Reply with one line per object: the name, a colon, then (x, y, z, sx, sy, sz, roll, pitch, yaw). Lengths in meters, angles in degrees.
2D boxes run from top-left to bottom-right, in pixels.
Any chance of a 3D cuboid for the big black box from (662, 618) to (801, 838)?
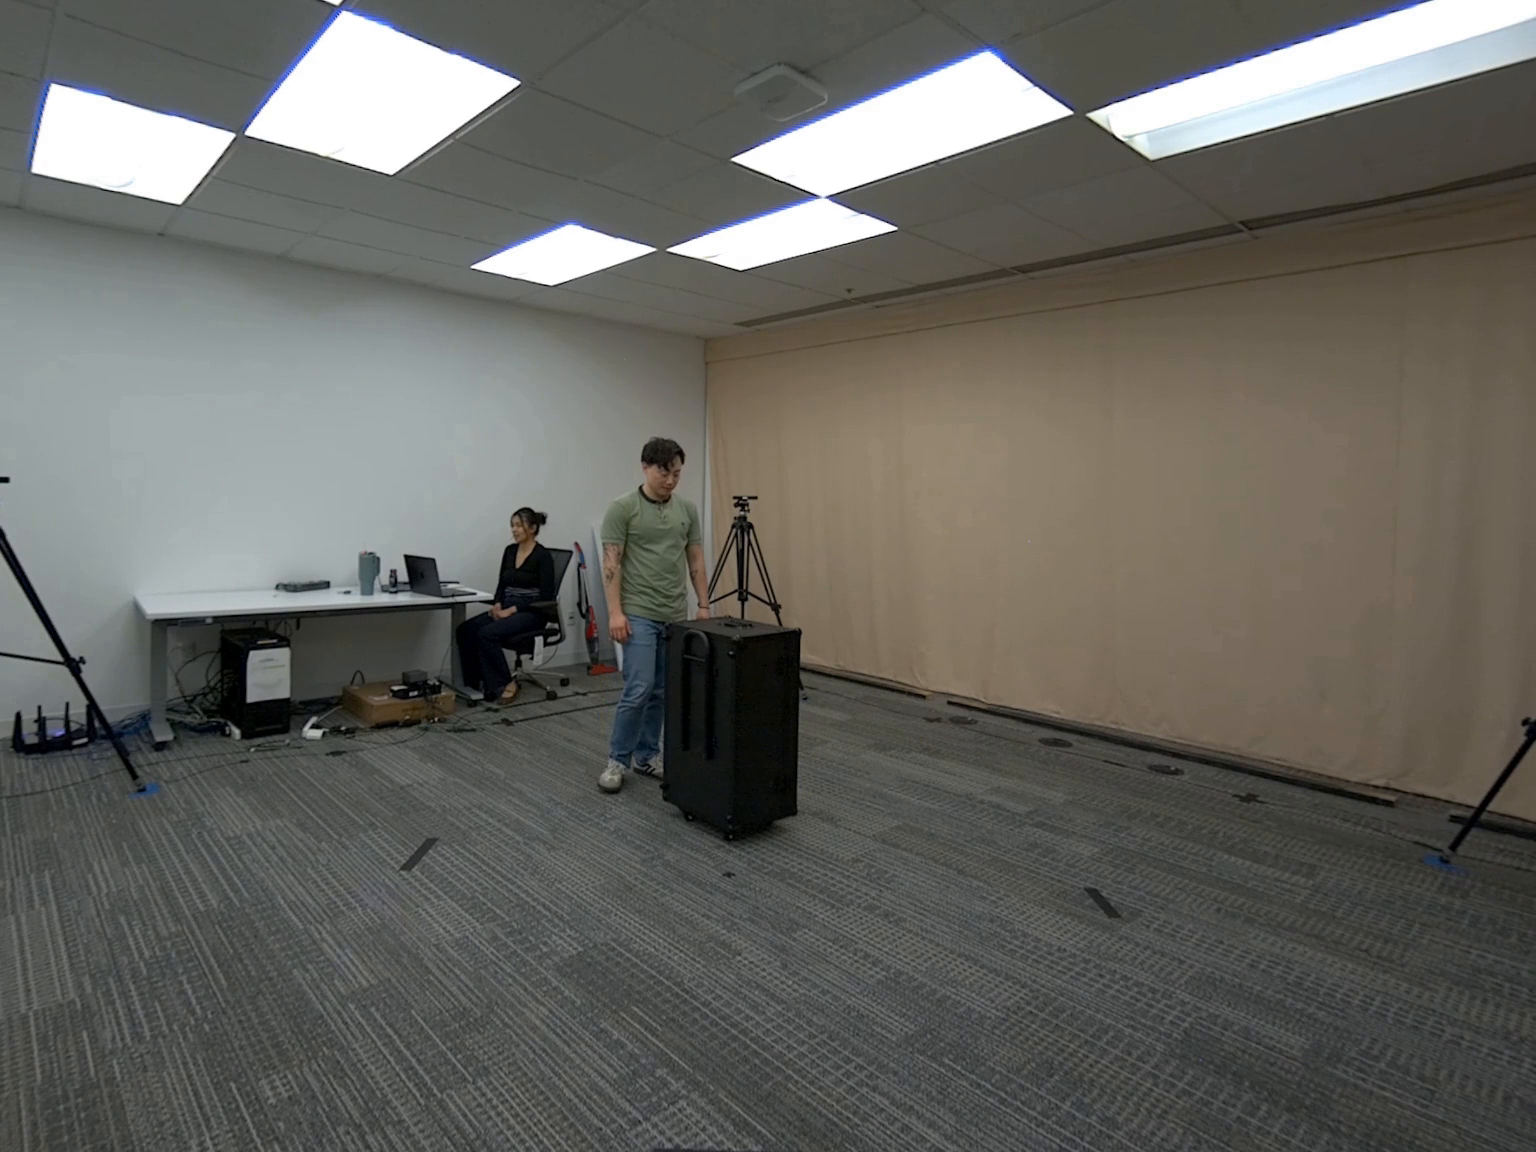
big black box: (-0.173, 0.636, 3.570, 0.387, 0.859, 0.534, -3, 5, -41)
